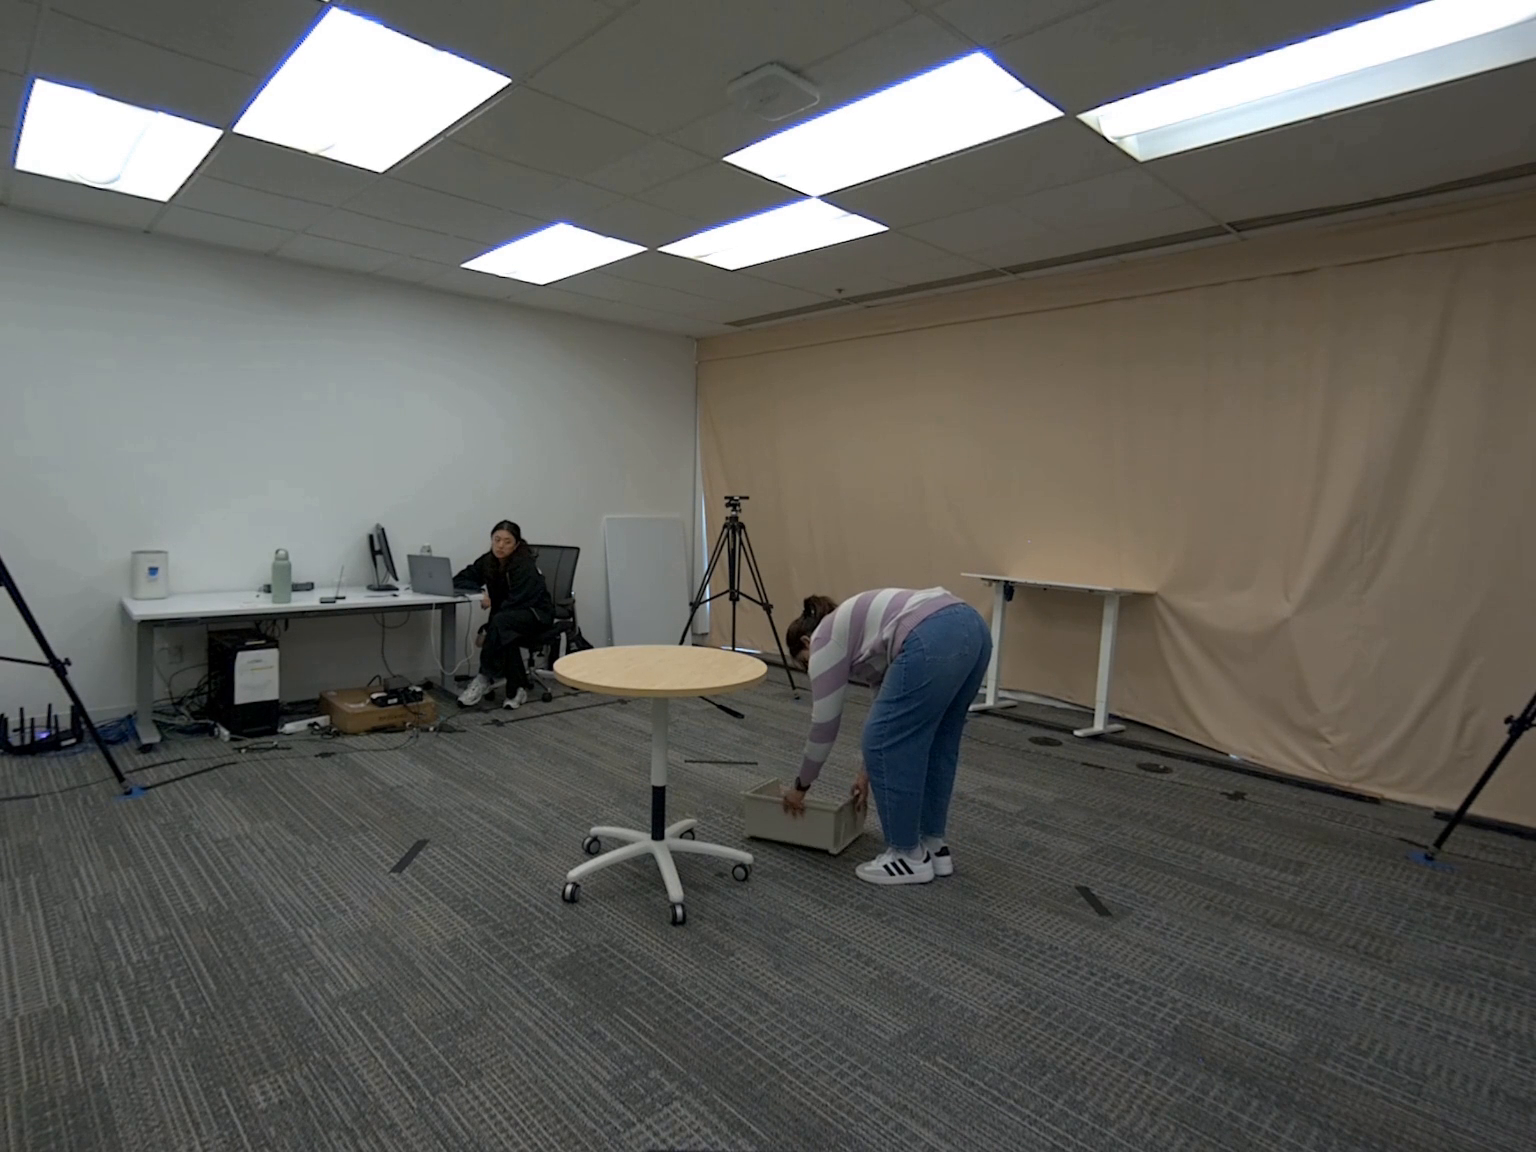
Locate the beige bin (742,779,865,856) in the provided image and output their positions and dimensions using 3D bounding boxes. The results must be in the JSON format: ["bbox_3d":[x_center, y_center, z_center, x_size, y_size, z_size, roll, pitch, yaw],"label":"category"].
[{"bbox_3d":[0.148,0.968,3.482,0.431,0.189,0.370,2,3,27],"label":"beige bin"}]
